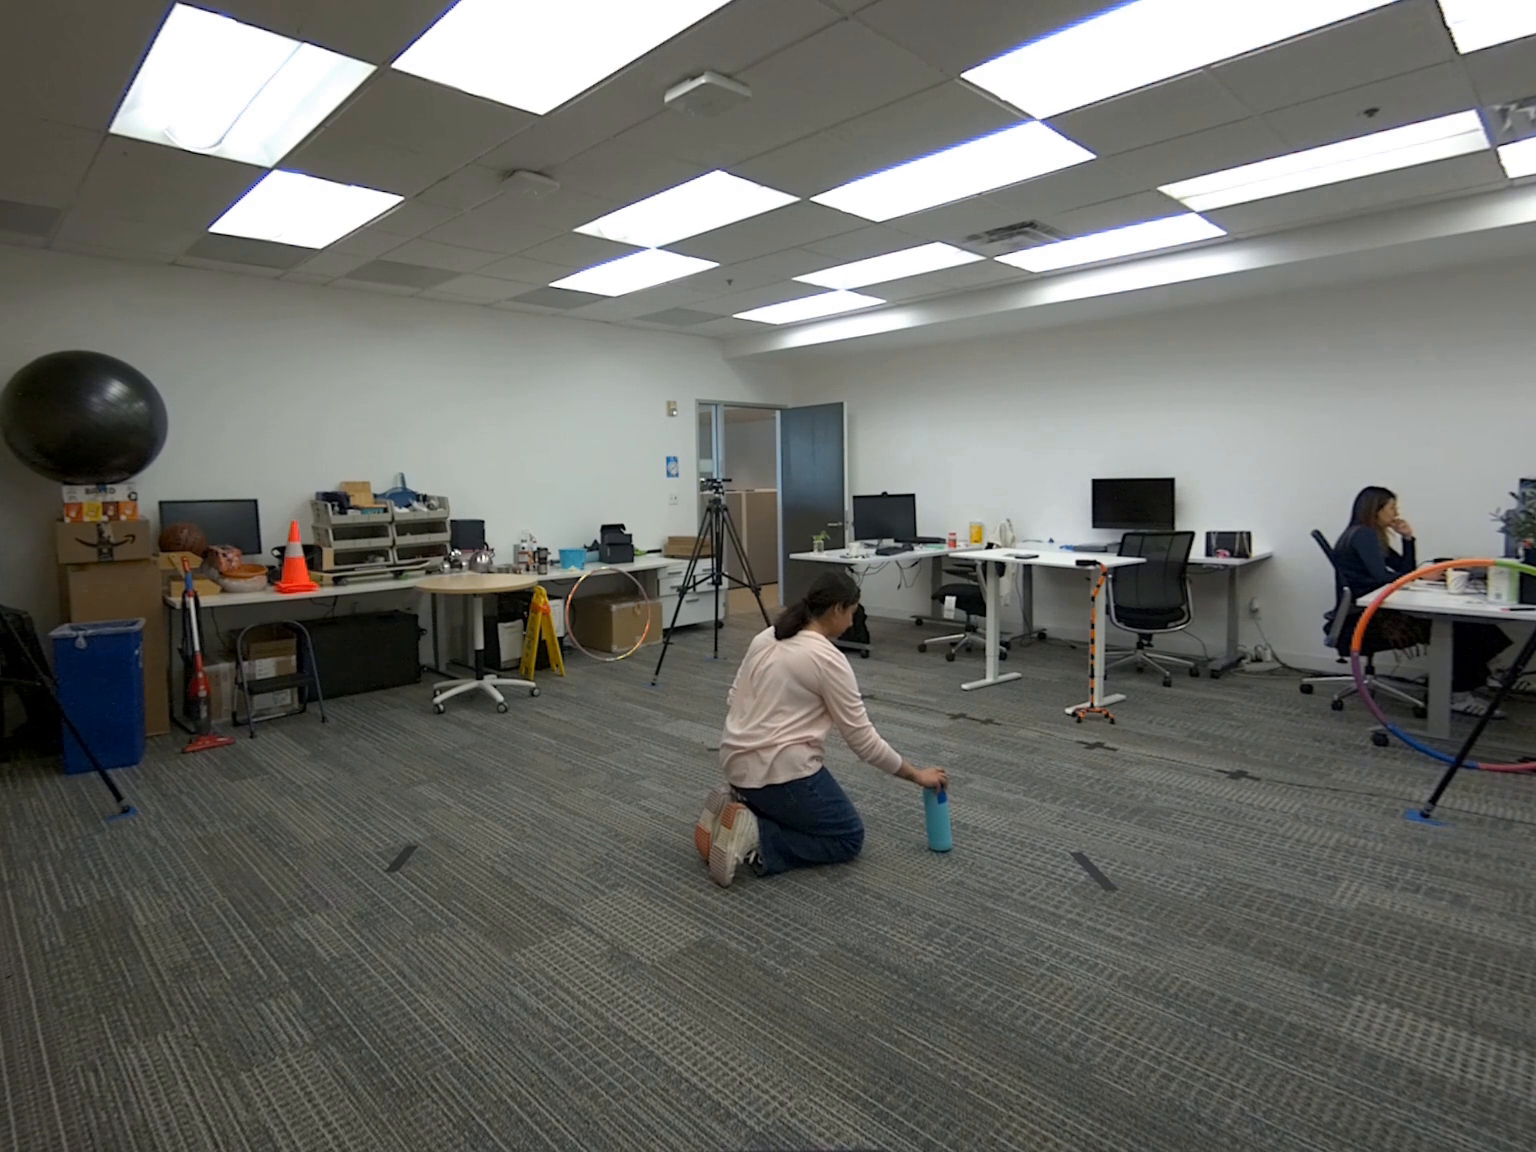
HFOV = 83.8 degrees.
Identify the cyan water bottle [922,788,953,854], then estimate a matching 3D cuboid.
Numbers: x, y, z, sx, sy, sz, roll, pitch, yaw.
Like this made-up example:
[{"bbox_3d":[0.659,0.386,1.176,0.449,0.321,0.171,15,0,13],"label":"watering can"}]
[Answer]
[{"bbox_3d":[0.629,0.865,3.195,0.092,0.283,0.092,-6,1,-1],"label":"cyan water bottle"}]
